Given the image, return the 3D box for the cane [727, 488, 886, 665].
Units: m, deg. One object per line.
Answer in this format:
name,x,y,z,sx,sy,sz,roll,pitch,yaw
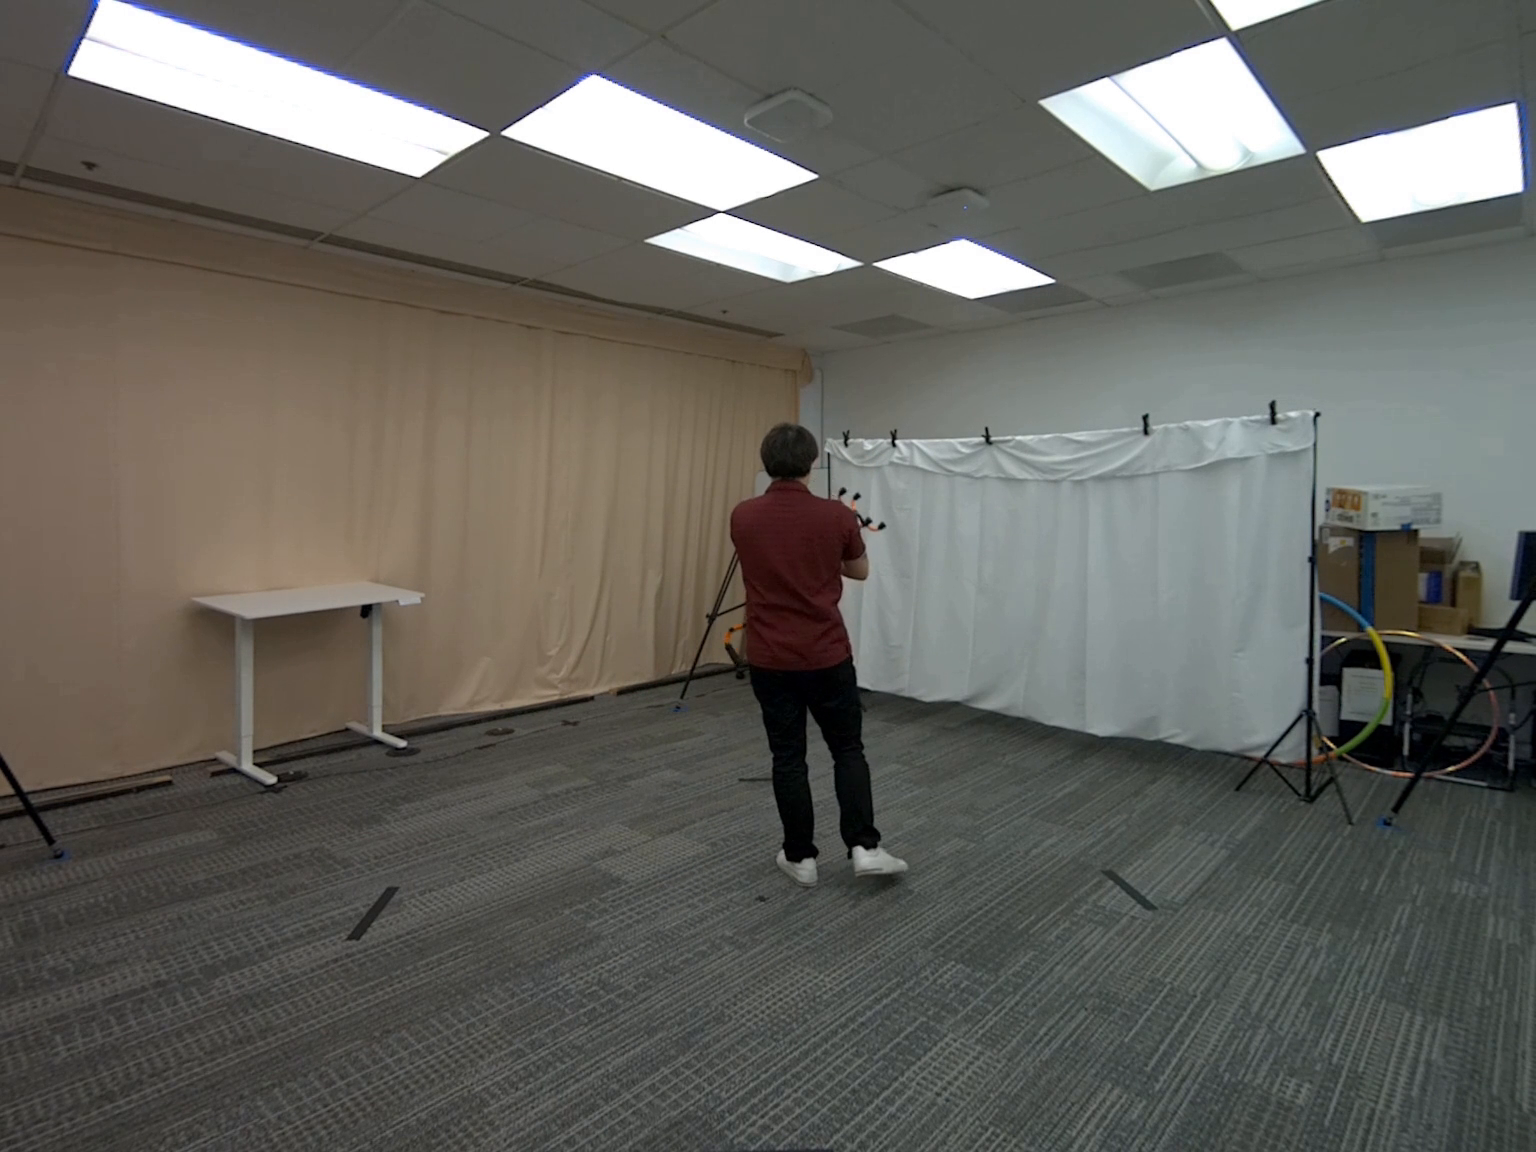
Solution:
cane,0.106,0.027,3.610,0.146,0.912,0.212,11,38,-54
